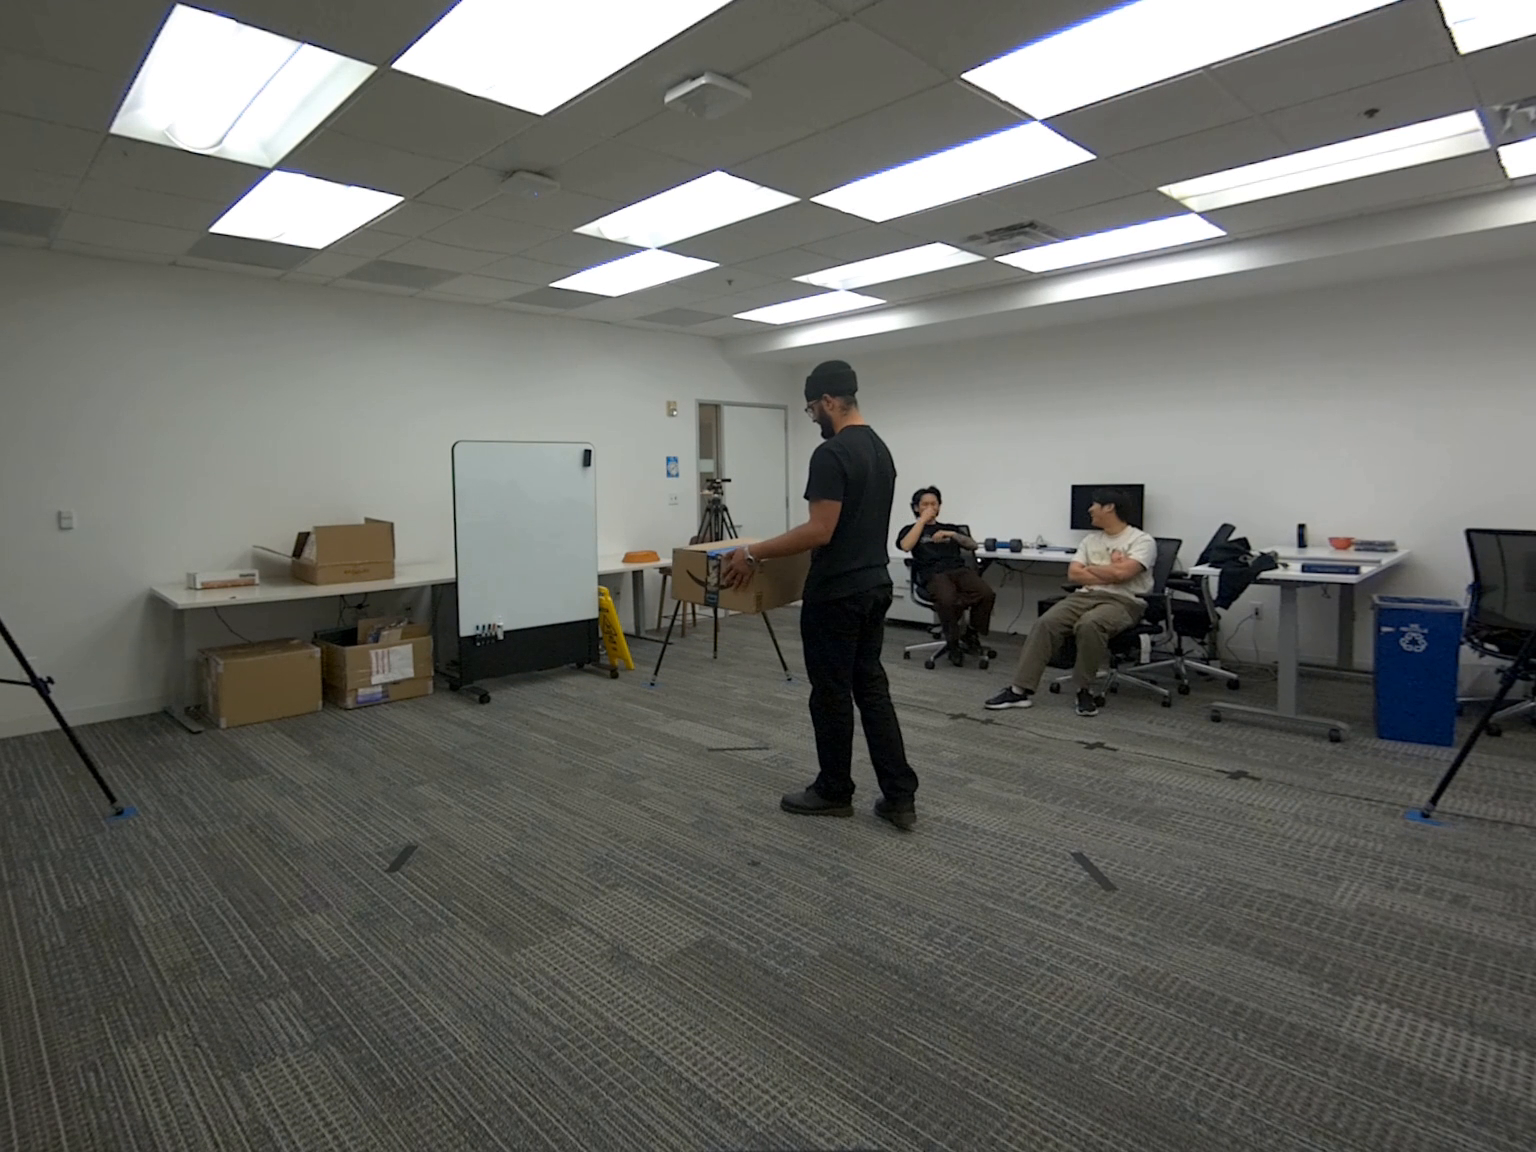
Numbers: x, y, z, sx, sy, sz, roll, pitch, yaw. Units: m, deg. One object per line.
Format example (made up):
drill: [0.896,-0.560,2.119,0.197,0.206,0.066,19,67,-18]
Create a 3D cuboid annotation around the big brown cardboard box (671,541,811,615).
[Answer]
big brown cardboard box: [-0.082,-0.019,3.670,0.430,0.231,0.576,8,10,31]
